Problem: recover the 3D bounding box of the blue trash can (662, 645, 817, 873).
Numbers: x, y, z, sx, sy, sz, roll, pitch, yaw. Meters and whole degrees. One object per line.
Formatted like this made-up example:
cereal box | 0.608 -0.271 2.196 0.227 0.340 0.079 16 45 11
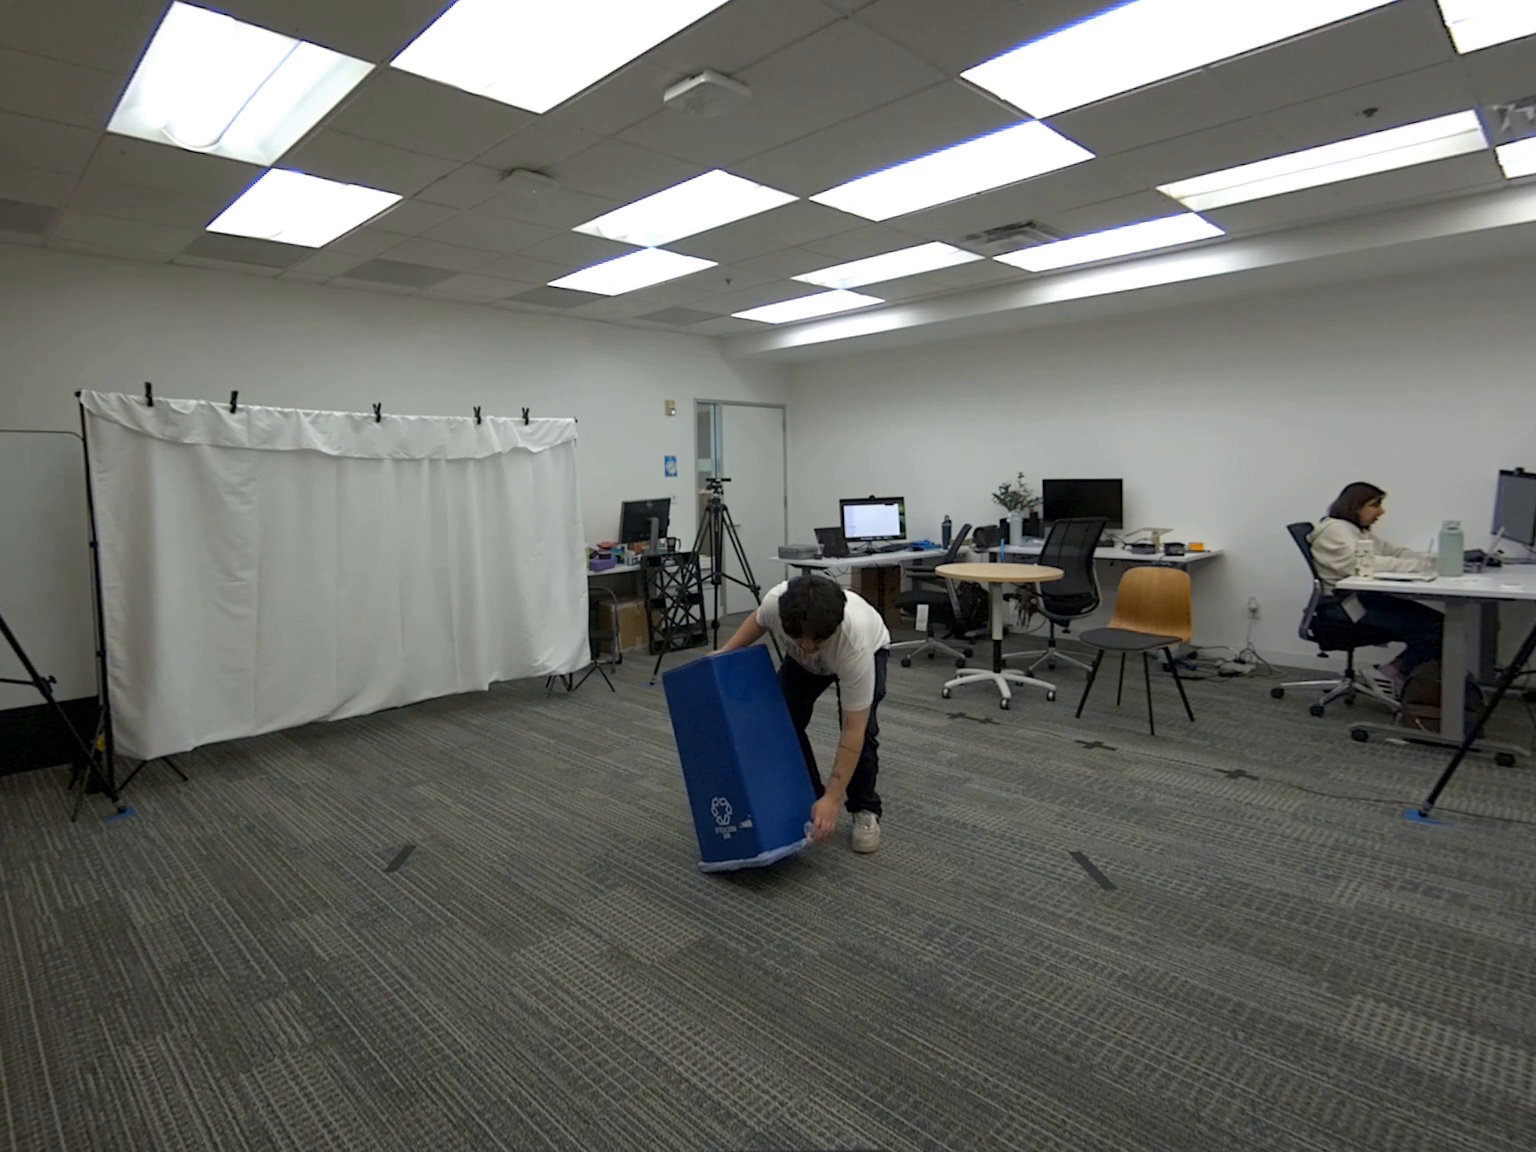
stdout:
blue trash can | -0.106 0.652 3.130 0.368 0.723 0.379 -4 -17 -45
